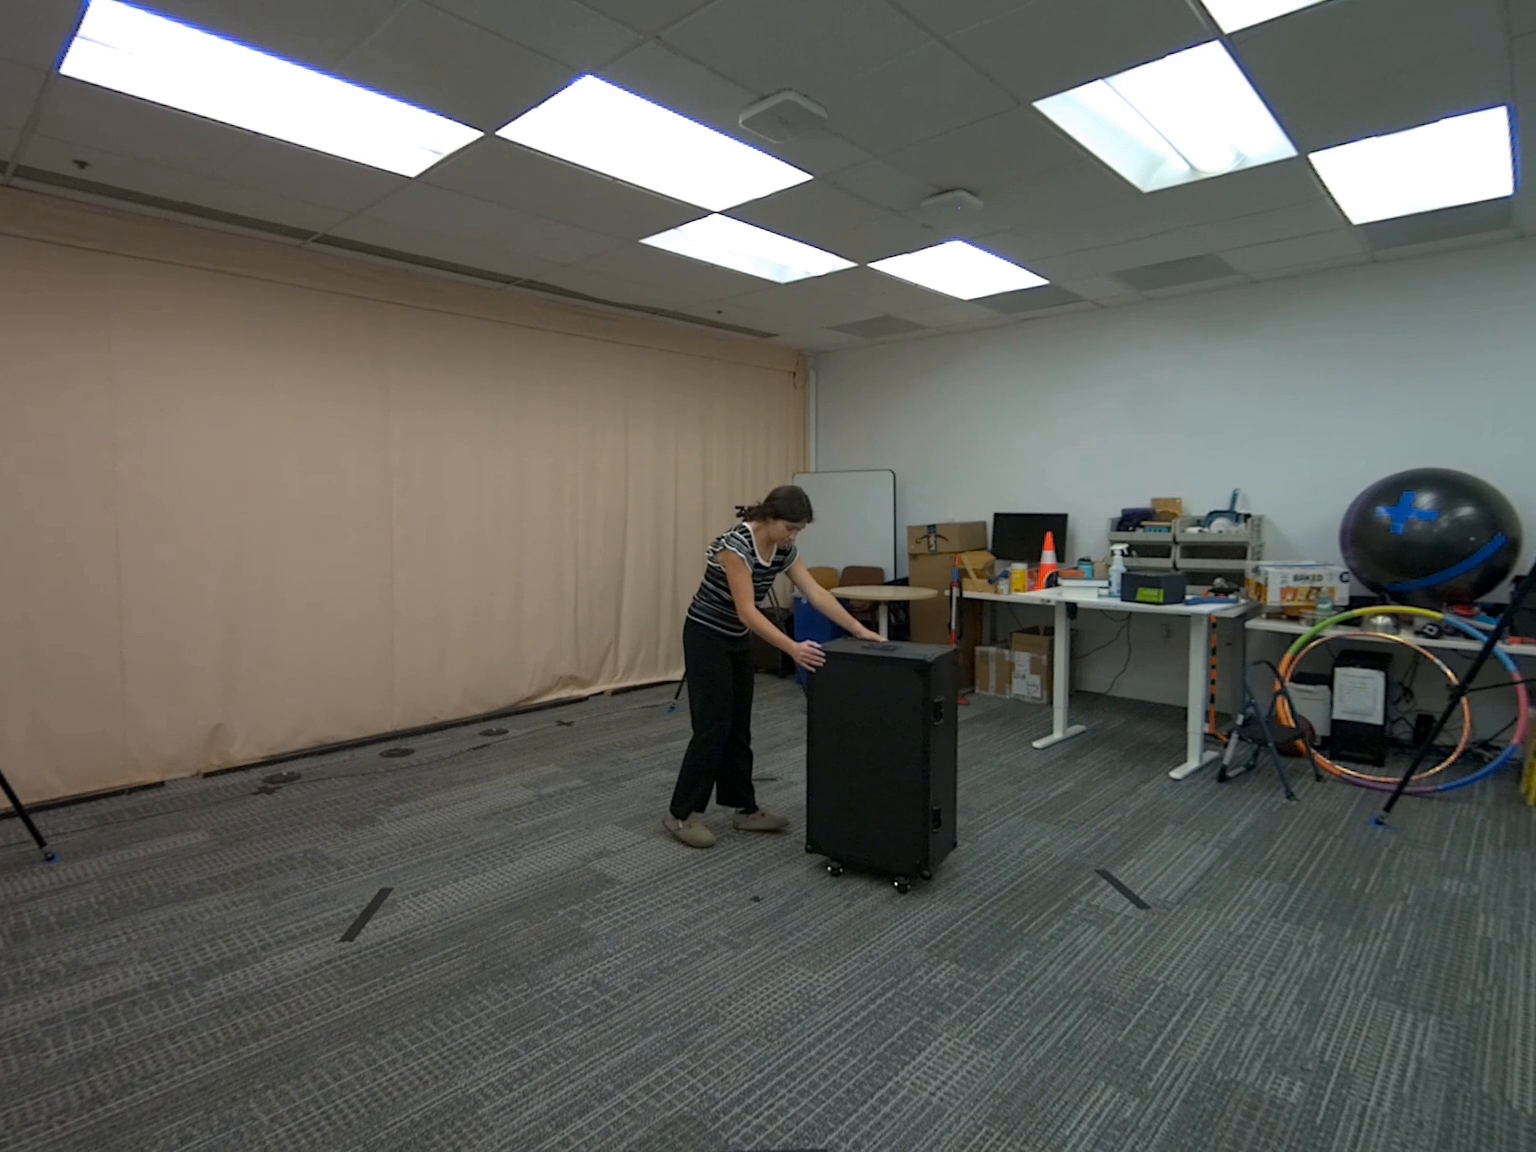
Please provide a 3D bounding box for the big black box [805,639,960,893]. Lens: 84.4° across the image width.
[{"bbox_3d":[0.440,0.701,3.232,0.536,0.860,0.385,2,2,30],"label":"big black box"}]
